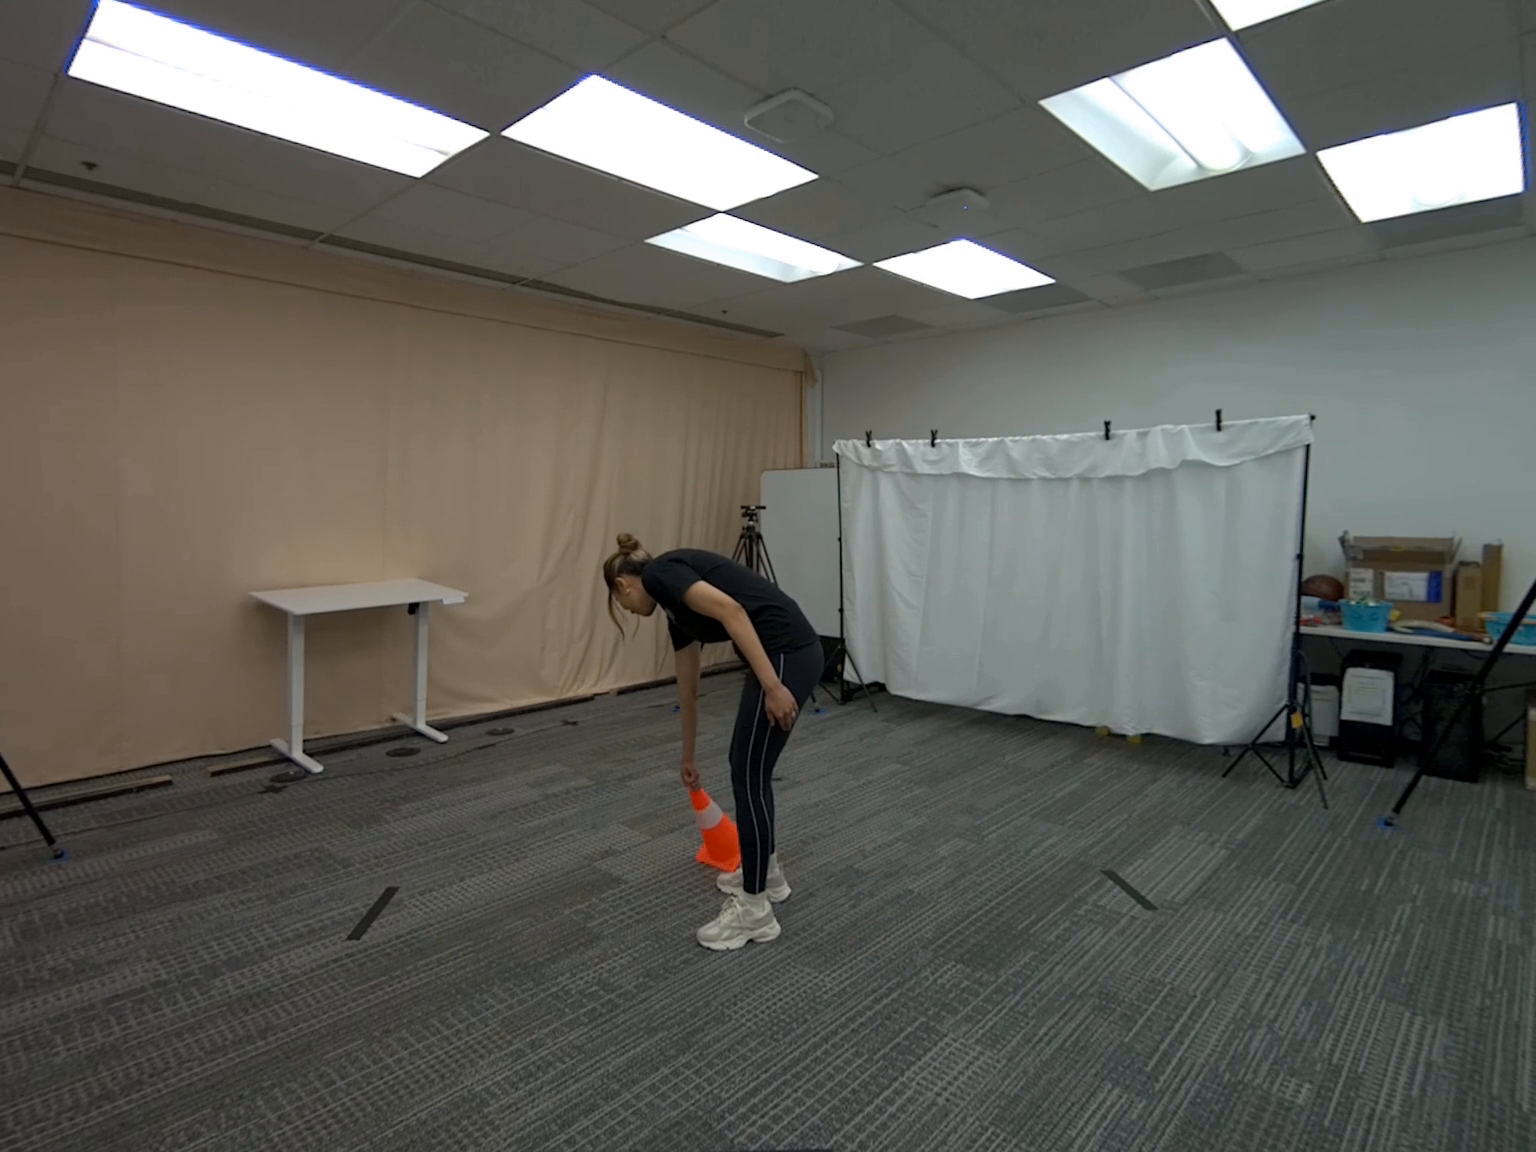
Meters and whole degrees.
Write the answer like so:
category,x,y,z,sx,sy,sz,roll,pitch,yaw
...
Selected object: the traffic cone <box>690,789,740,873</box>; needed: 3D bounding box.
category,x,y,z,sx,sy,sz,roll,pitch,yaw
traffic cone,-0.229,0.917,3.216,0.209,0.374,0.204,-3,36,36
